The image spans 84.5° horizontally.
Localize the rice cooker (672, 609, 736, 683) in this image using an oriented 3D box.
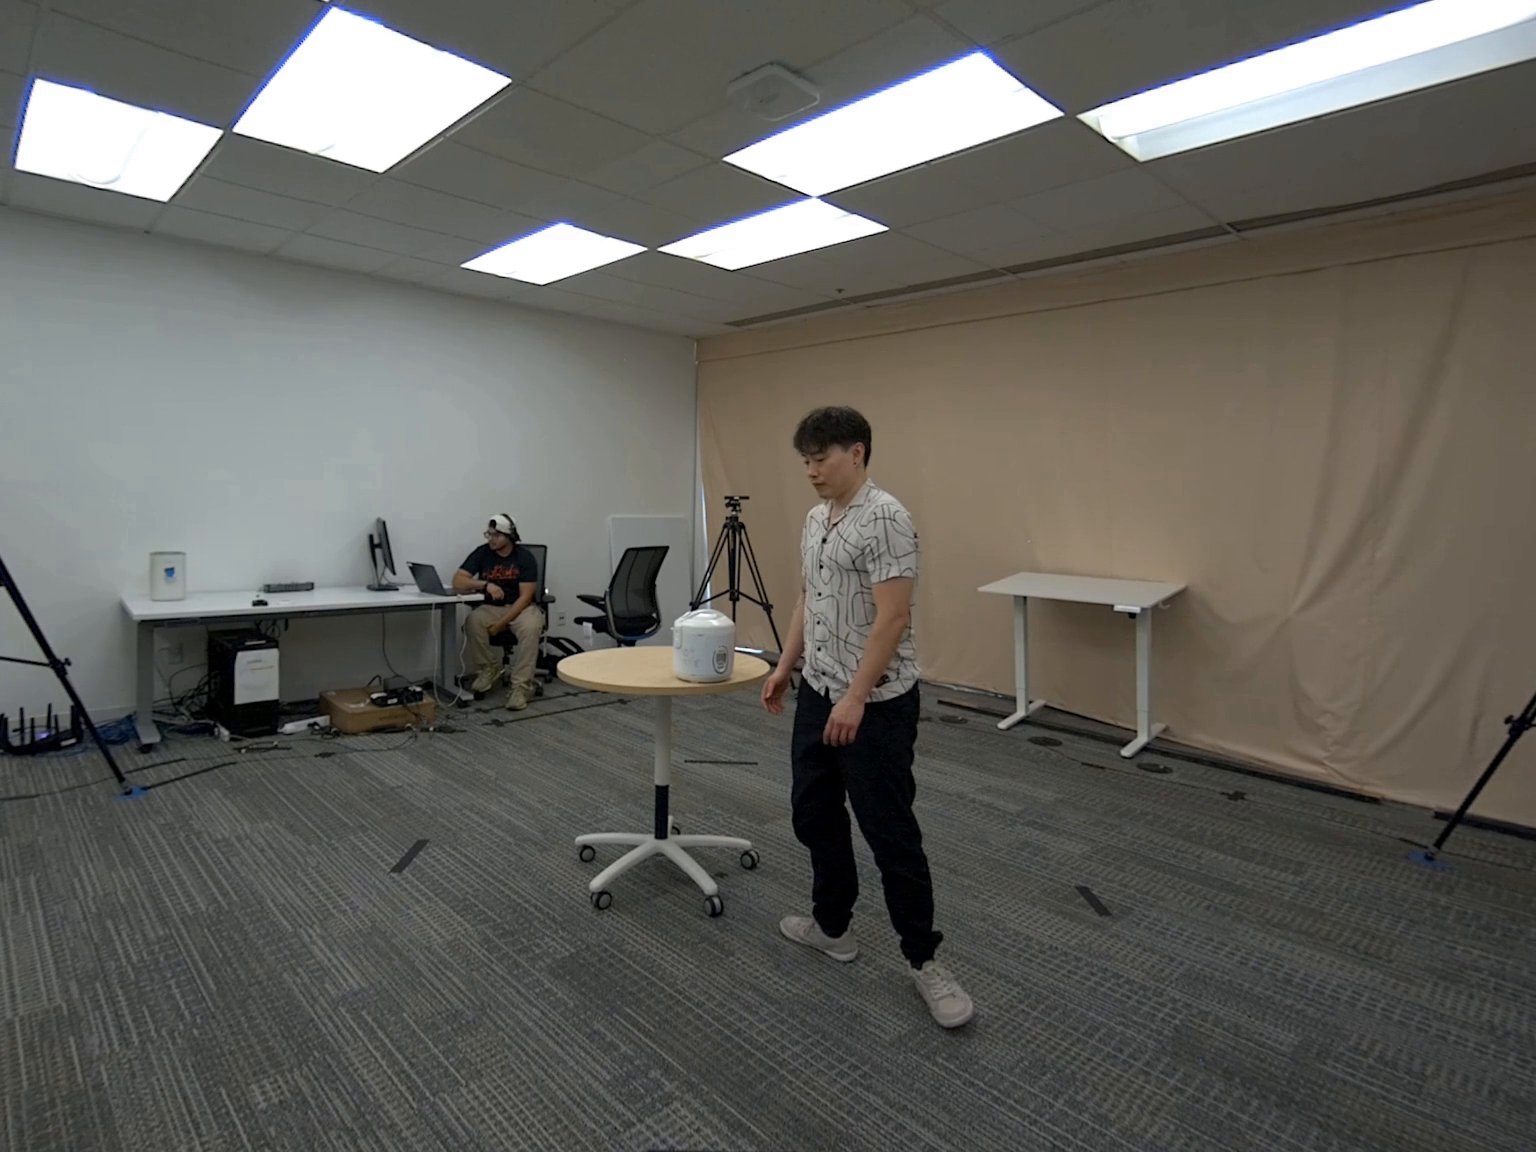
[{"bbox_3d":[-0.217,0.225,2.818,0.216,0.232,0.223,-1,4,-36],"label":"rice cooker"}]
